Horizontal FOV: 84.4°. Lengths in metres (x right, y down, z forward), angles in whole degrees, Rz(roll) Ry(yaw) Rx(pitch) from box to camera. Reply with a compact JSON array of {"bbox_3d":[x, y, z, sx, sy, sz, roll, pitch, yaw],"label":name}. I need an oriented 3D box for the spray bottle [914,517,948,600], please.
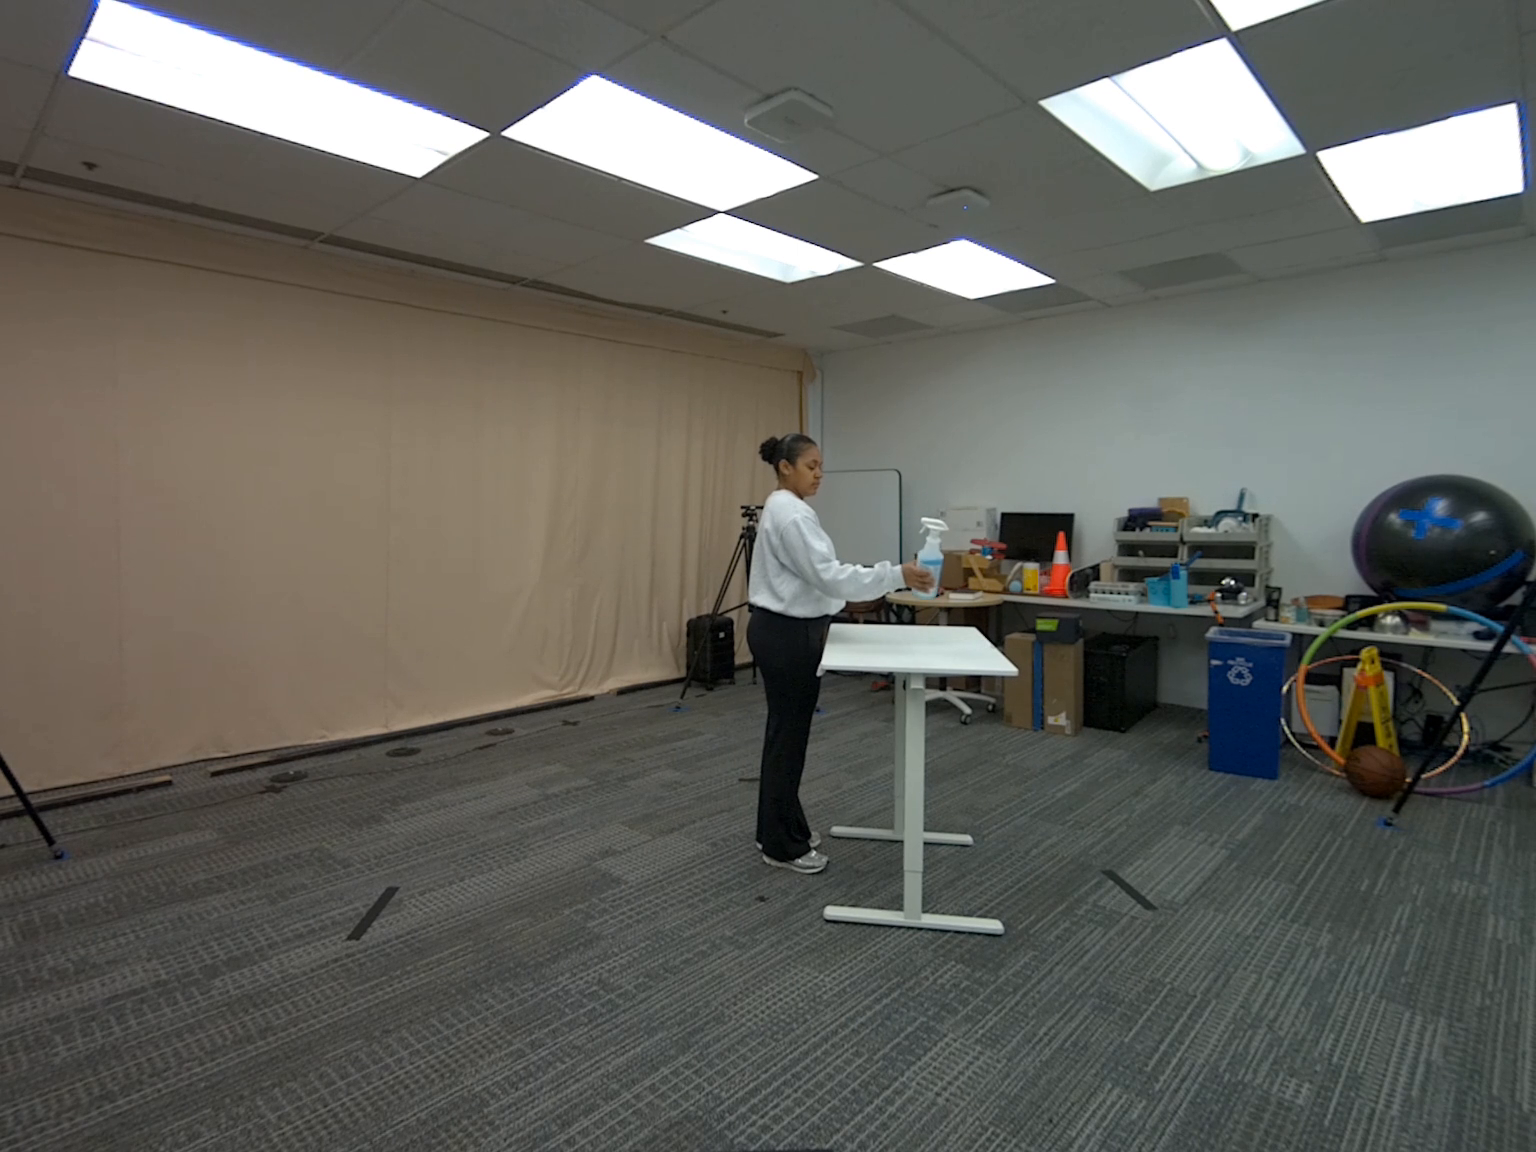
[{"bbox_3d":[0.563,-0.063,2.883,0.093,0.293,0.086,21,35,27],"label":"spray bottle"}]
